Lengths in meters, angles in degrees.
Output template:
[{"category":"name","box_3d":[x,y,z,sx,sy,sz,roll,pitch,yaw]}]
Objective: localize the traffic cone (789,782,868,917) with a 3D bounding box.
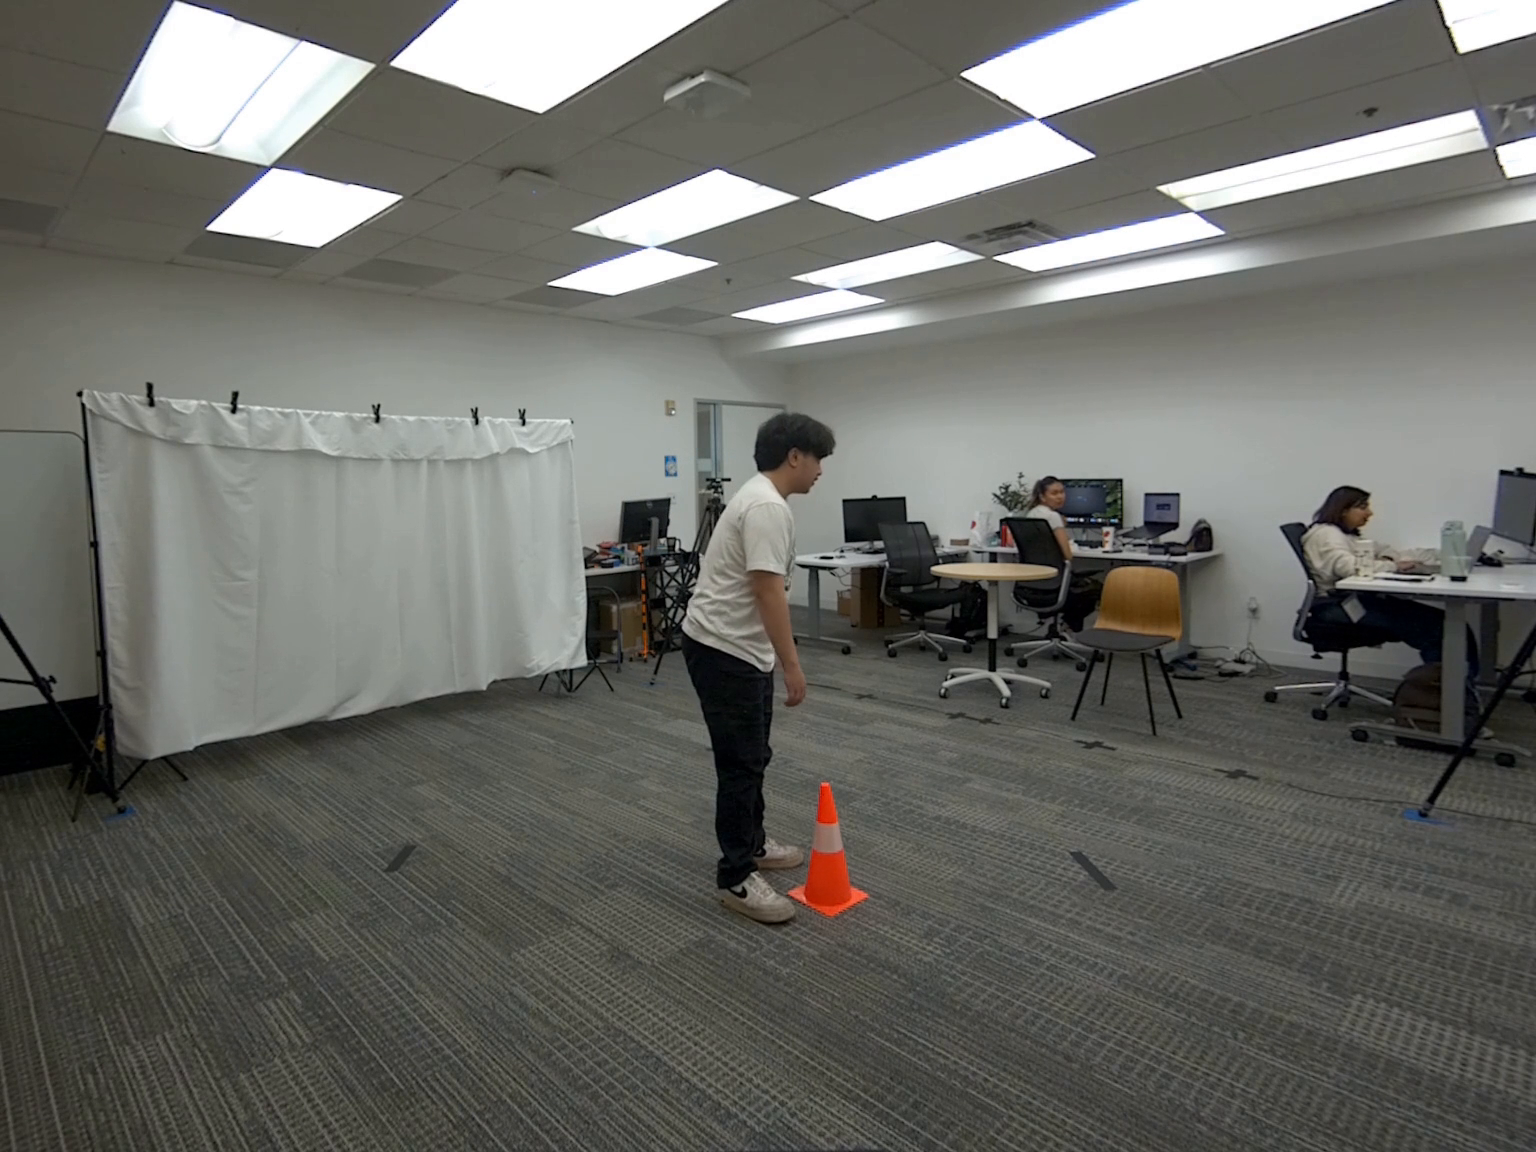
[{"category":"traffic cone","box_3d":[0.196,0.878,2.843,0.198,0.382,0.211,-4,5,-40]}]
